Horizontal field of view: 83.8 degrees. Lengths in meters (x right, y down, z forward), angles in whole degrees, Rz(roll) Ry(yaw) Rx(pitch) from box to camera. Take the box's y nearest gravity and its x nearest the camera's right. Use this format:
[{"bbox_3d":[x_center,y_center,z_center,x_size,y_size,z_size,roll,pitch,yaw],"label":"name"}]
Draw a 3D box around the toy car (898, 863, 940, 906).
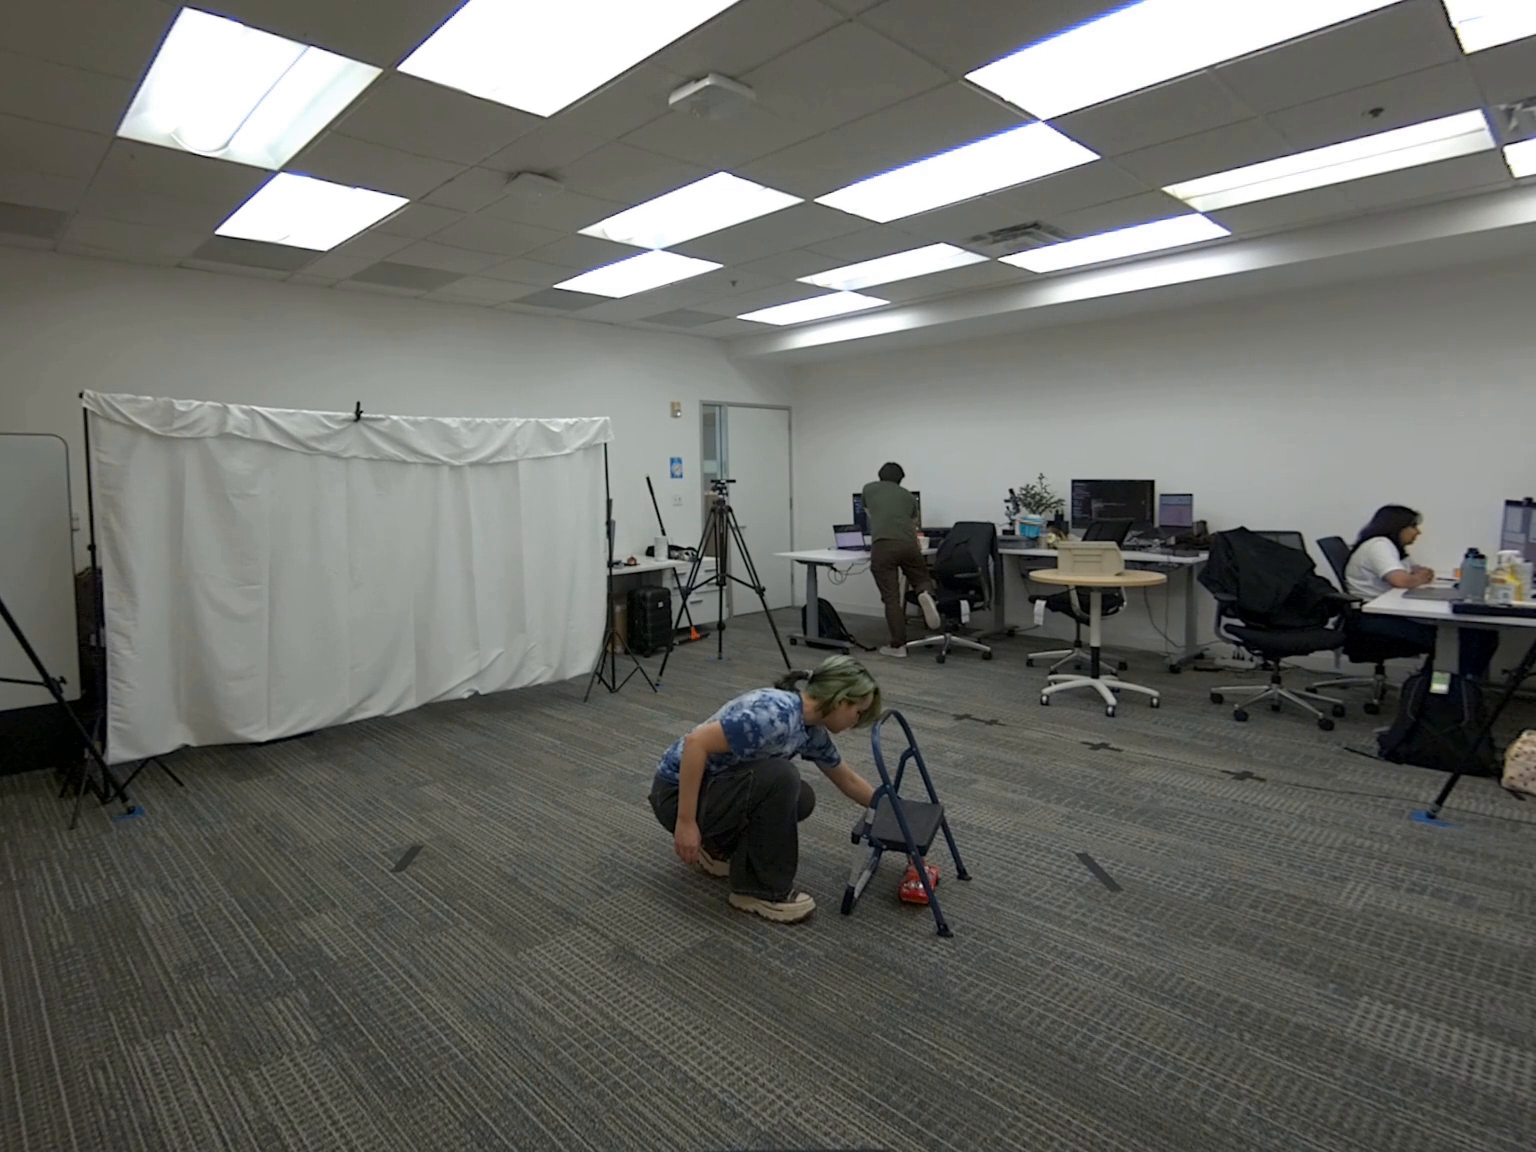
[{"bbox_3d":[0.501,1.030,2.853,0.132,0.083,0.249,2,-5,17],"label":"toy car"}]
